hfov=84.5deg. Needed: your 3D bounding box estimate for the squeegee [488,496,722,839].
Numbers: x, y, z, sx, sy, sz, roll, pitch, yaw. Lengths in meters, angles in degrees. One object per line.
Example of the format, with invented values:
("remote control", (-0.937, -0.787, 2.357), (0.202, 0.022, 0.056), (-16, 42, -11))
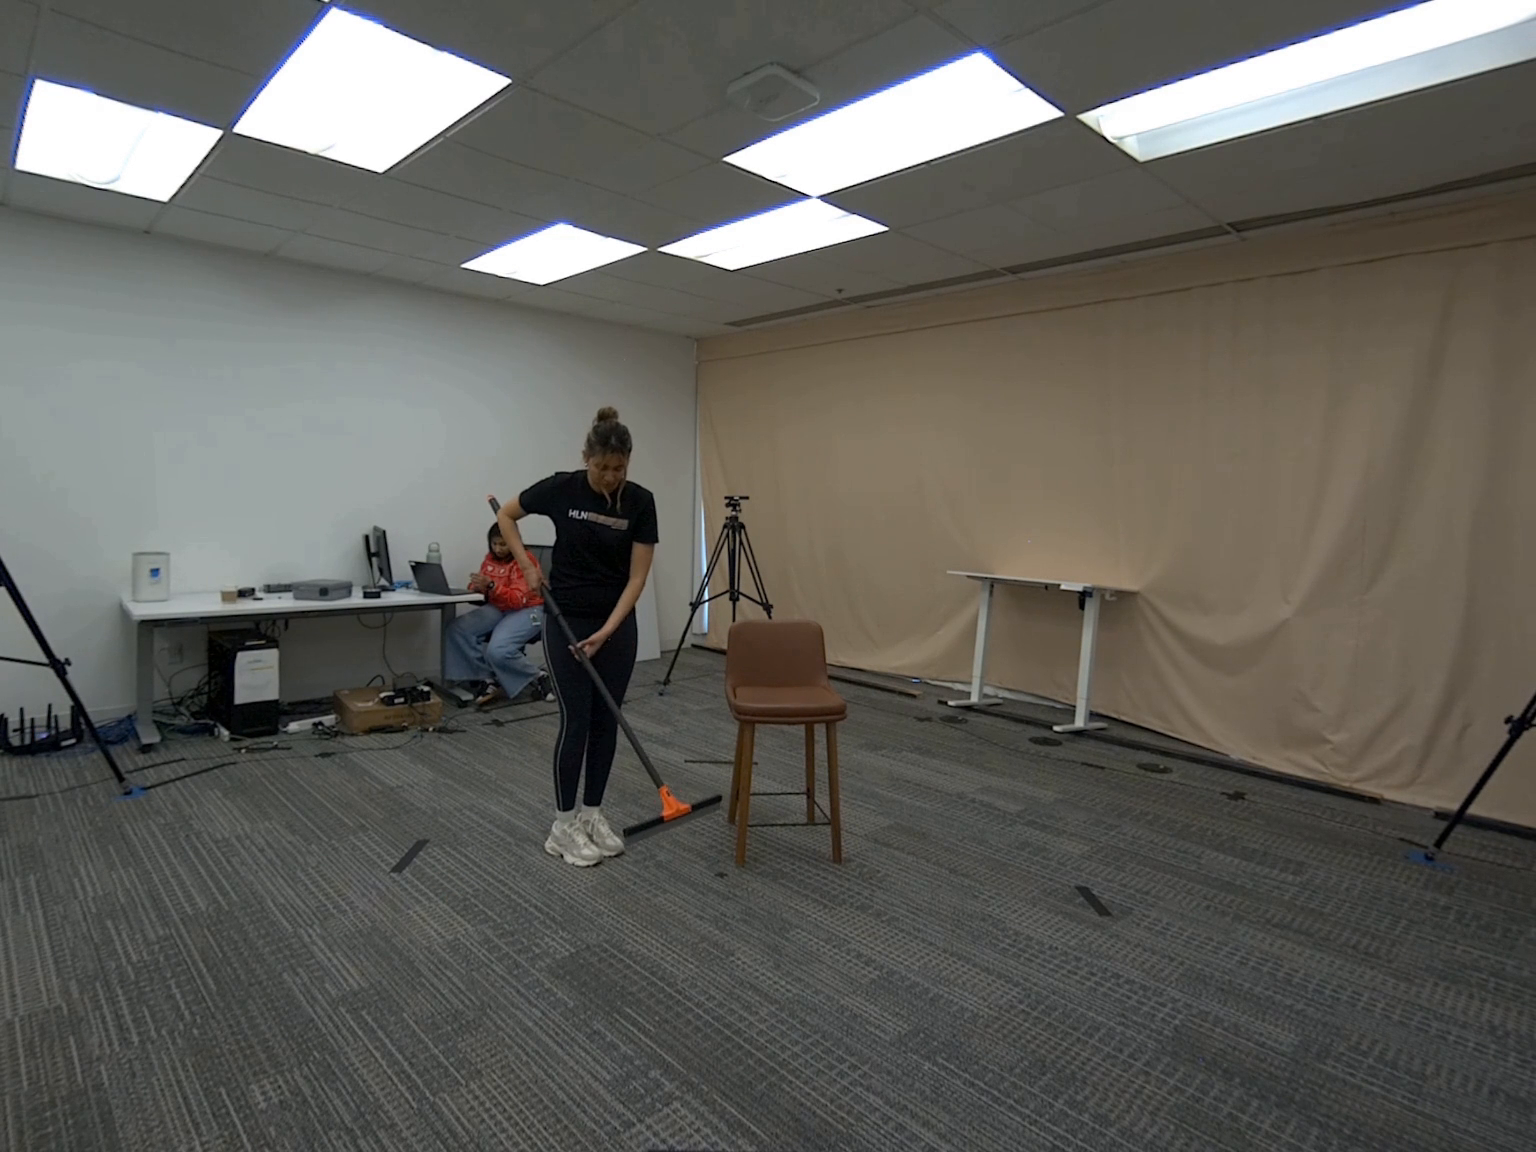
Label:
("squeegee", (-0.723, 0.256, 3.082), (0.428, 0.053, 1.578), (-6, 48, -47))
